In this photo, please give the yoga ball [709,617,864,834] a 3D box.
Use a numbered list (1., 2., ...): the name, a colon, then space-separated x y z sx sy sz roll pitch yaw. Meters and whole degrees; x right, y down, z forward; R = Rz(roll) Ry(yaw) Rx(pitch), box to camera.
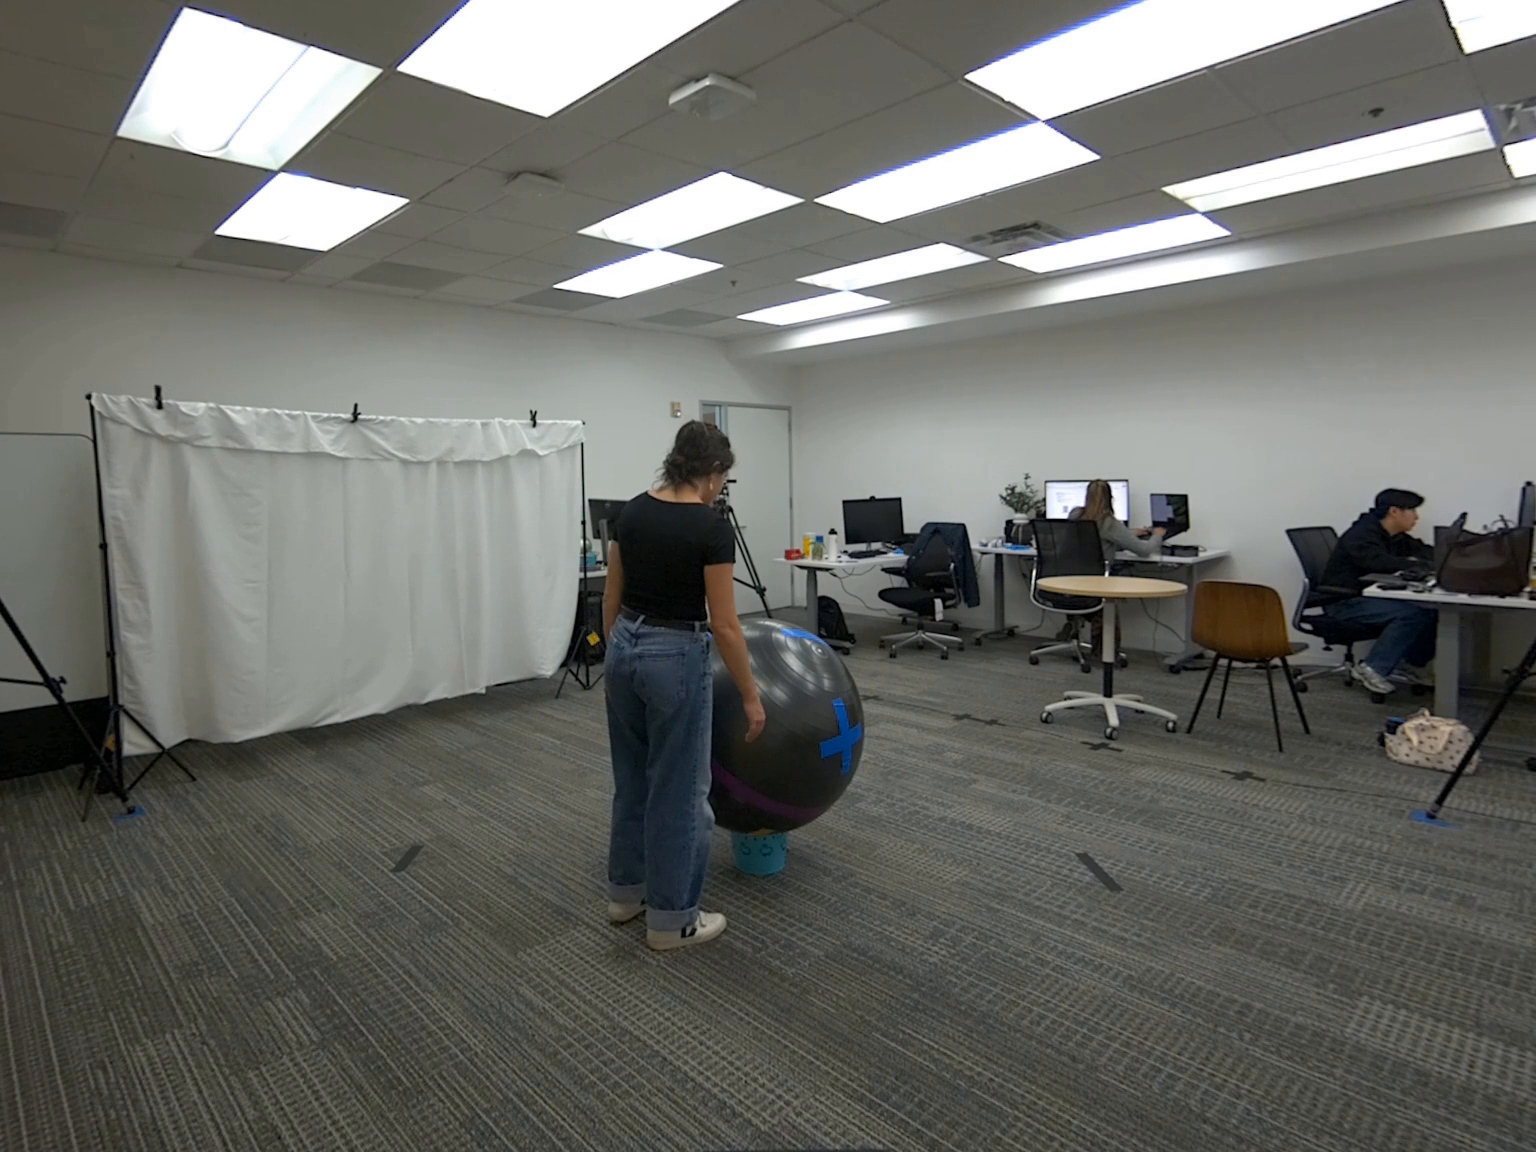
1. yoga ball: -0.032 0.536 3.089 0.757 0.755 0.762 -1 5 -2
